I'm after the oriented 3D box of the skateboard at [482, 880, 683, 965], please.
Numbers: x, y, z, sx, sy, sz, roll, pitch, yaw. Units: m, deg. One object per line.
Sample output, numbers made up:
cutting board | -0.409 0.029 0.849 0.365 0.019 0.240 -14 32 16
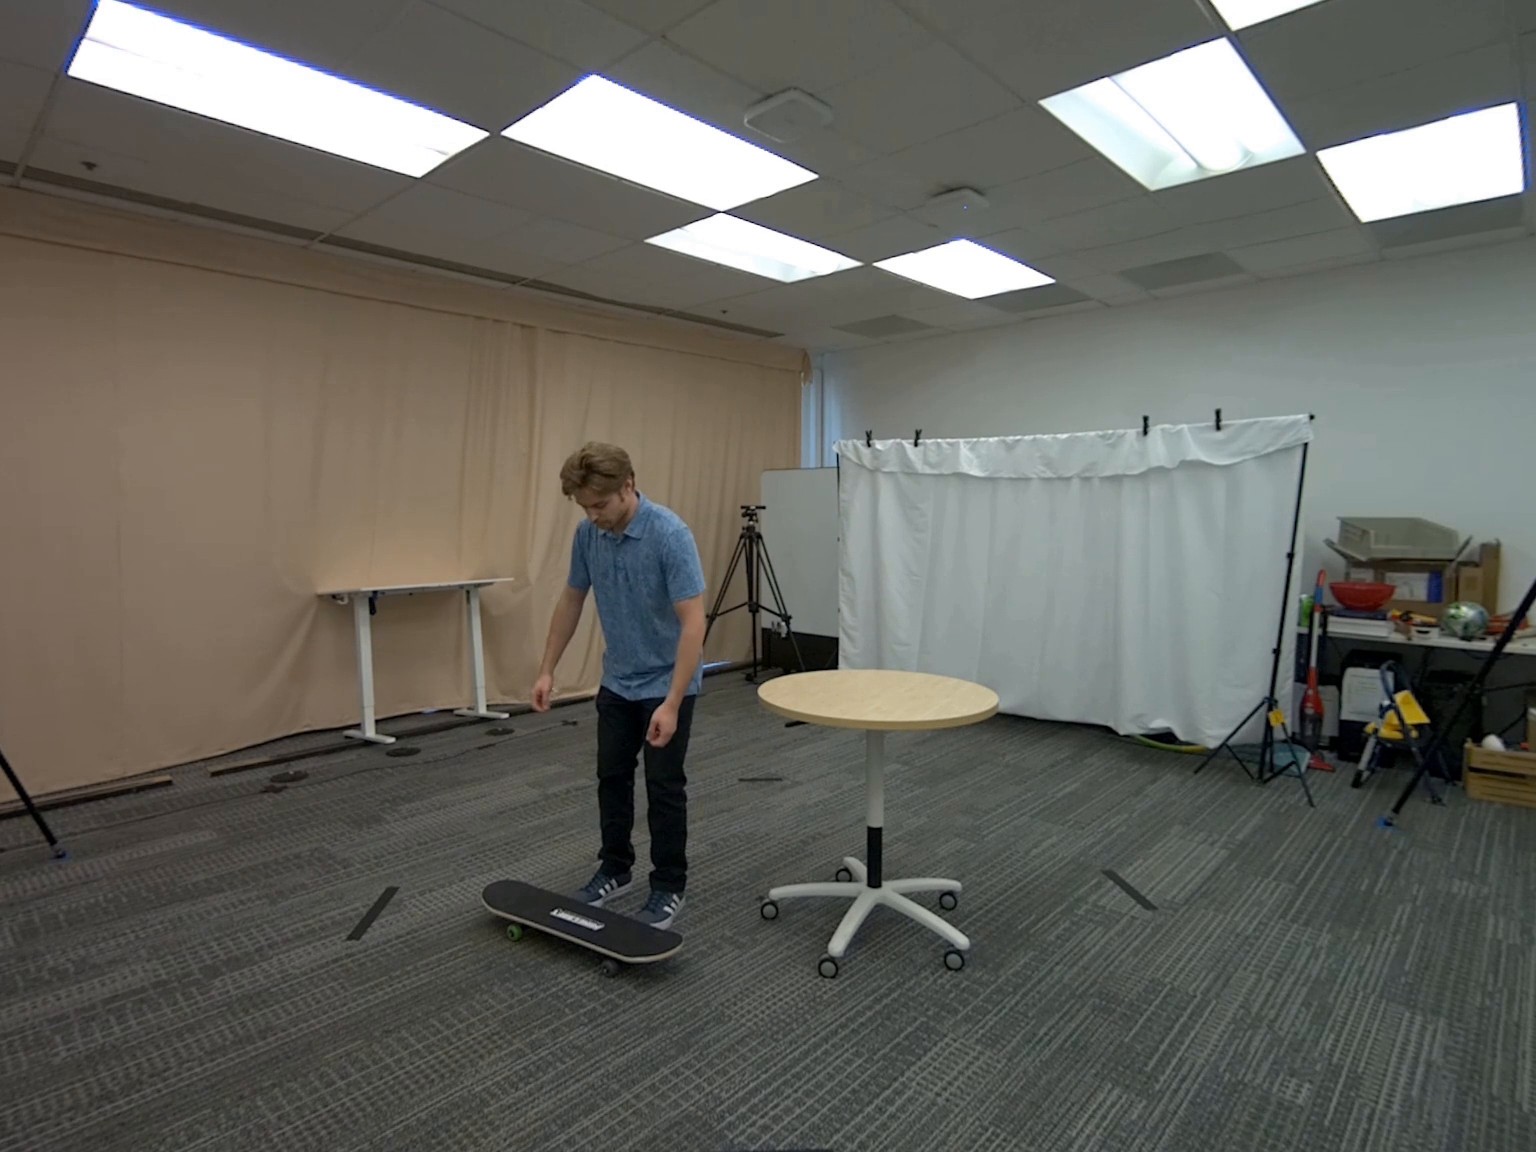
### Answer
skateboard | -0.597 1.112 2.668 0.808 0.110 0.188 2 5 31
